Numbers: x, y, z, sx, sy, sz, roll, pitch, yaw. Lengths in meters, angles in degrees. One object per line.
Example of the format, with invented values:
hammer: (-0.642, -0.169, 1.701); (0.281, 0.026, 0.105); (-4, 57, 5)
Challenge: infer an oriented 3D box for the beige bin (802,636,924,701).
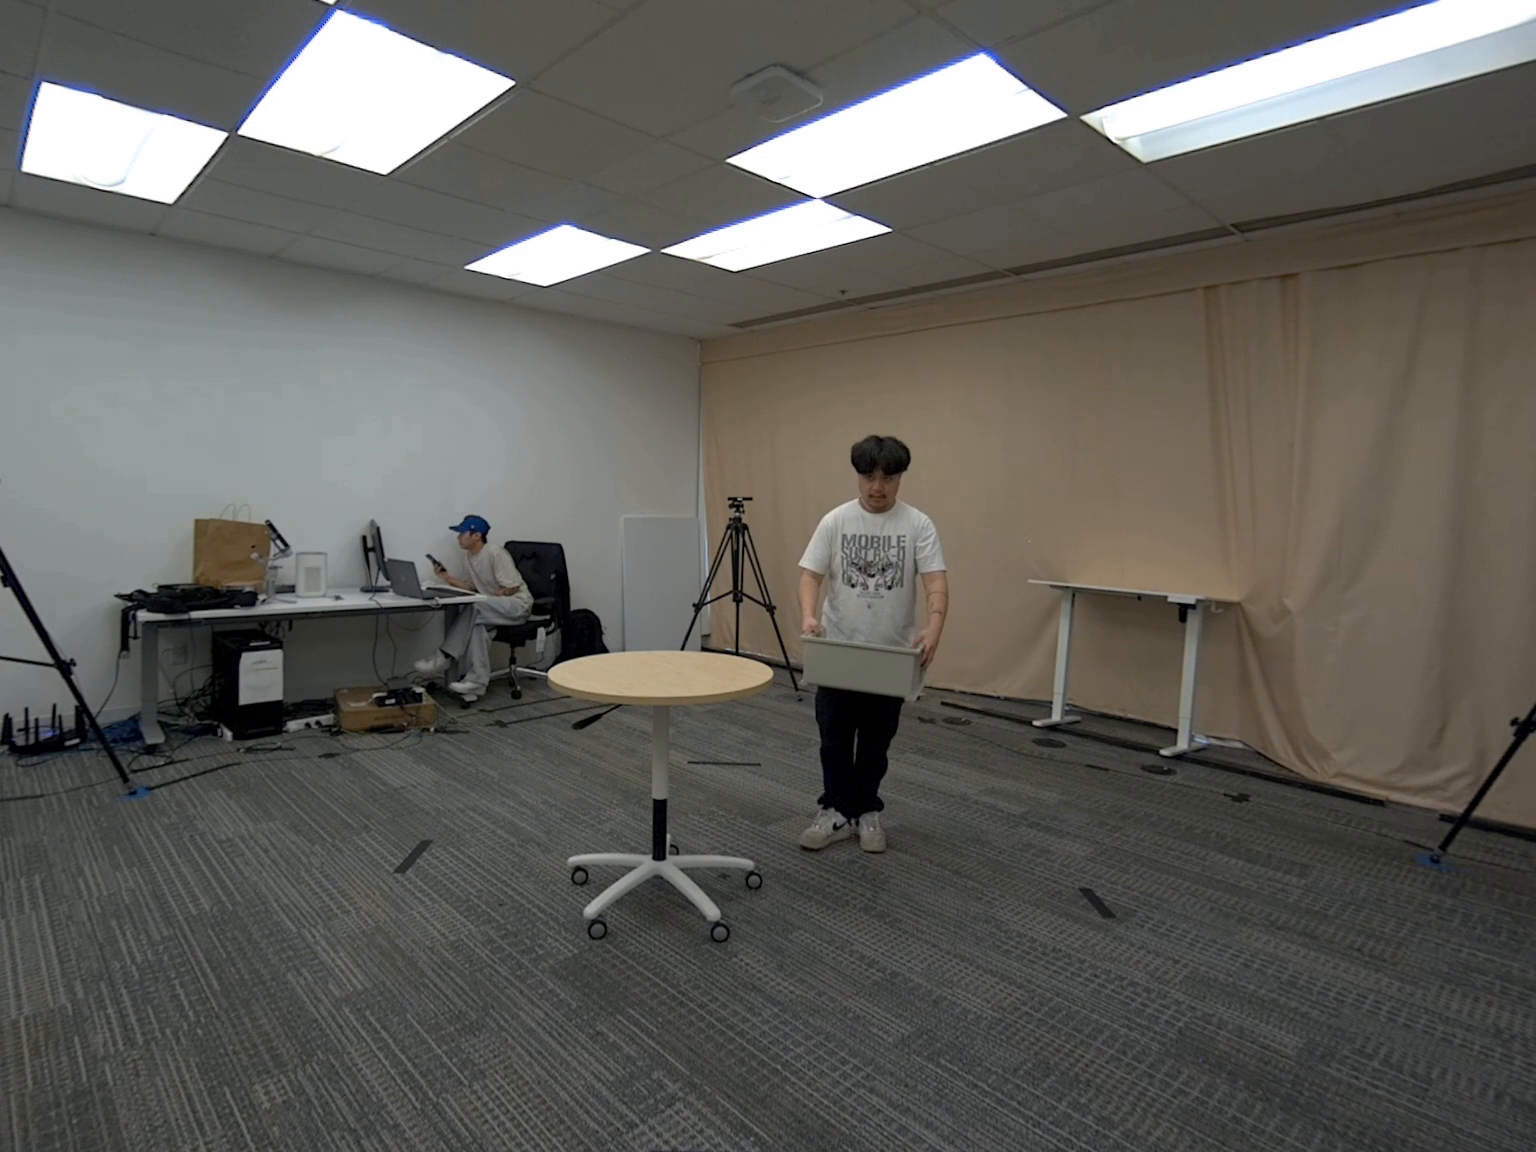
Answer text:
beige bin: (0.353, 0.312, 3.117); (0.429, 0.188, 0.373); (6, 8, 18)
